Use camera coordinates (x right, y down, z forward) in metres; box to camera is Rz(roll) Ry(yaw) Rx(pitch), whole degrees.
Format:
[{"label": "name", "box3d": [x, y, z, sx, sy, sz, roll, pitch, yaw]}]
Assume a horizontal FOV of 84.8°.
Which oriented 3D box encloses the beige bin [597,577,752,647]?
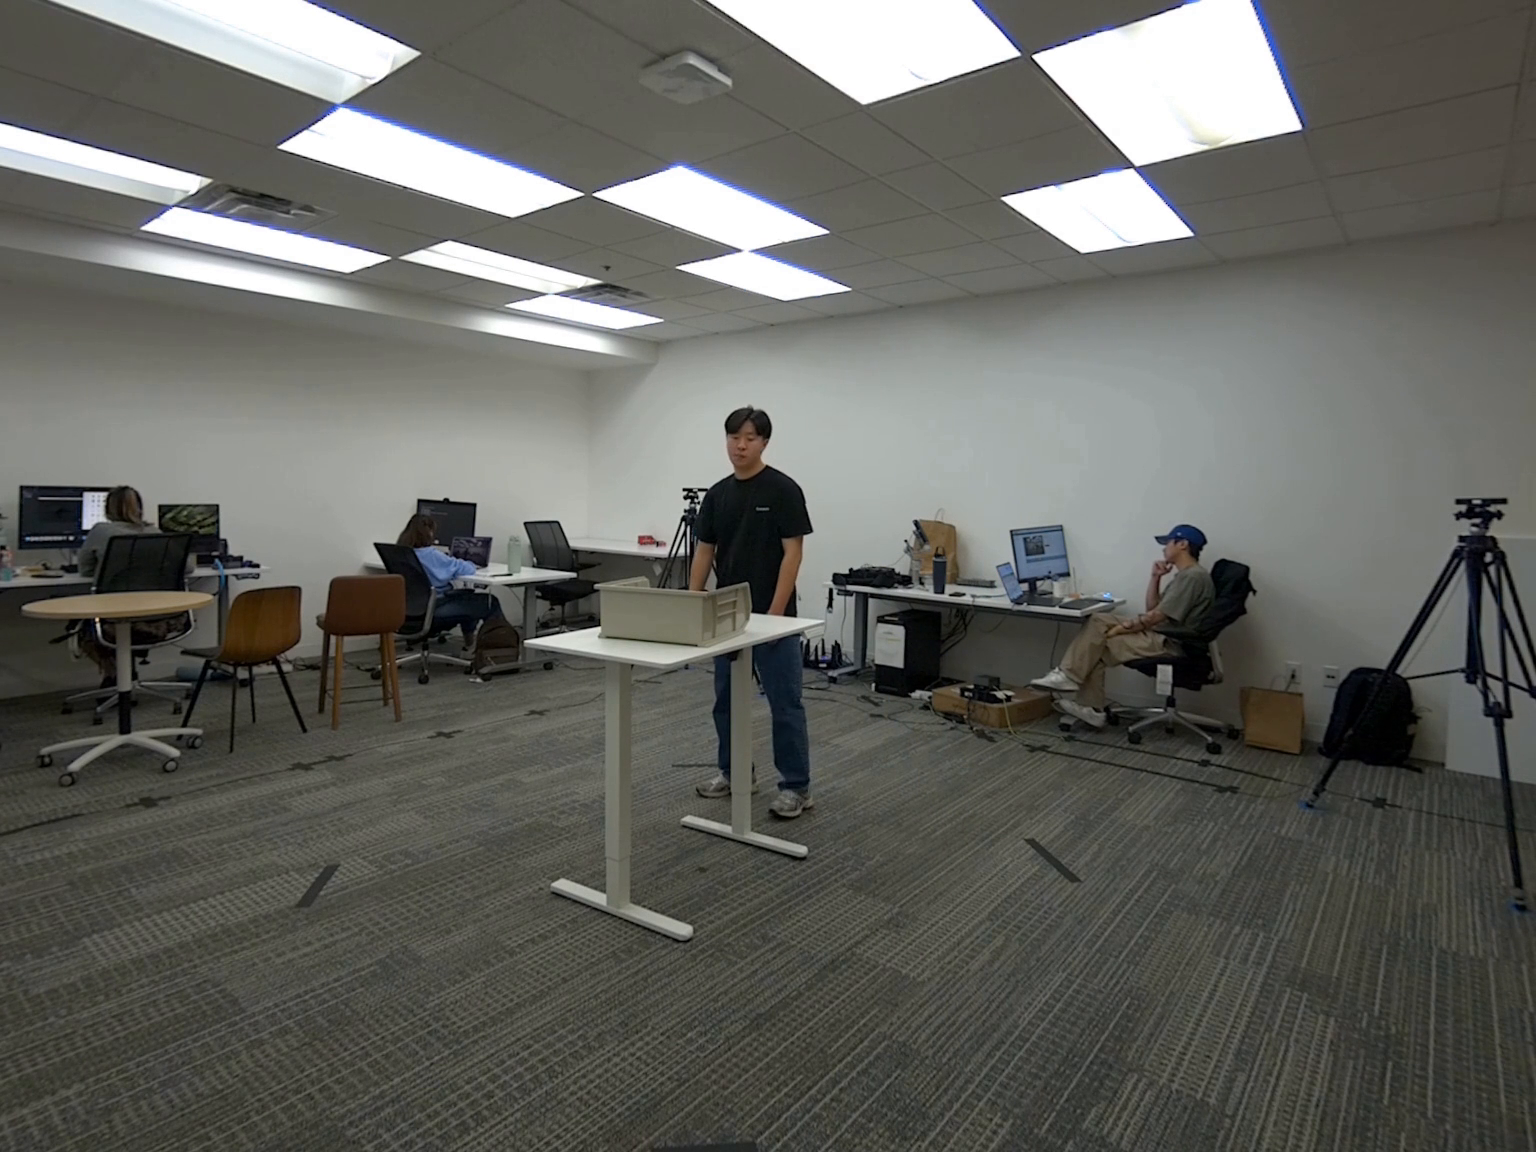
[{"label": "beige bin", "box3d": [-0.330, 0.116, 2.940, 0.433, 0.188, 0.370, 3, 7, 24]}]
